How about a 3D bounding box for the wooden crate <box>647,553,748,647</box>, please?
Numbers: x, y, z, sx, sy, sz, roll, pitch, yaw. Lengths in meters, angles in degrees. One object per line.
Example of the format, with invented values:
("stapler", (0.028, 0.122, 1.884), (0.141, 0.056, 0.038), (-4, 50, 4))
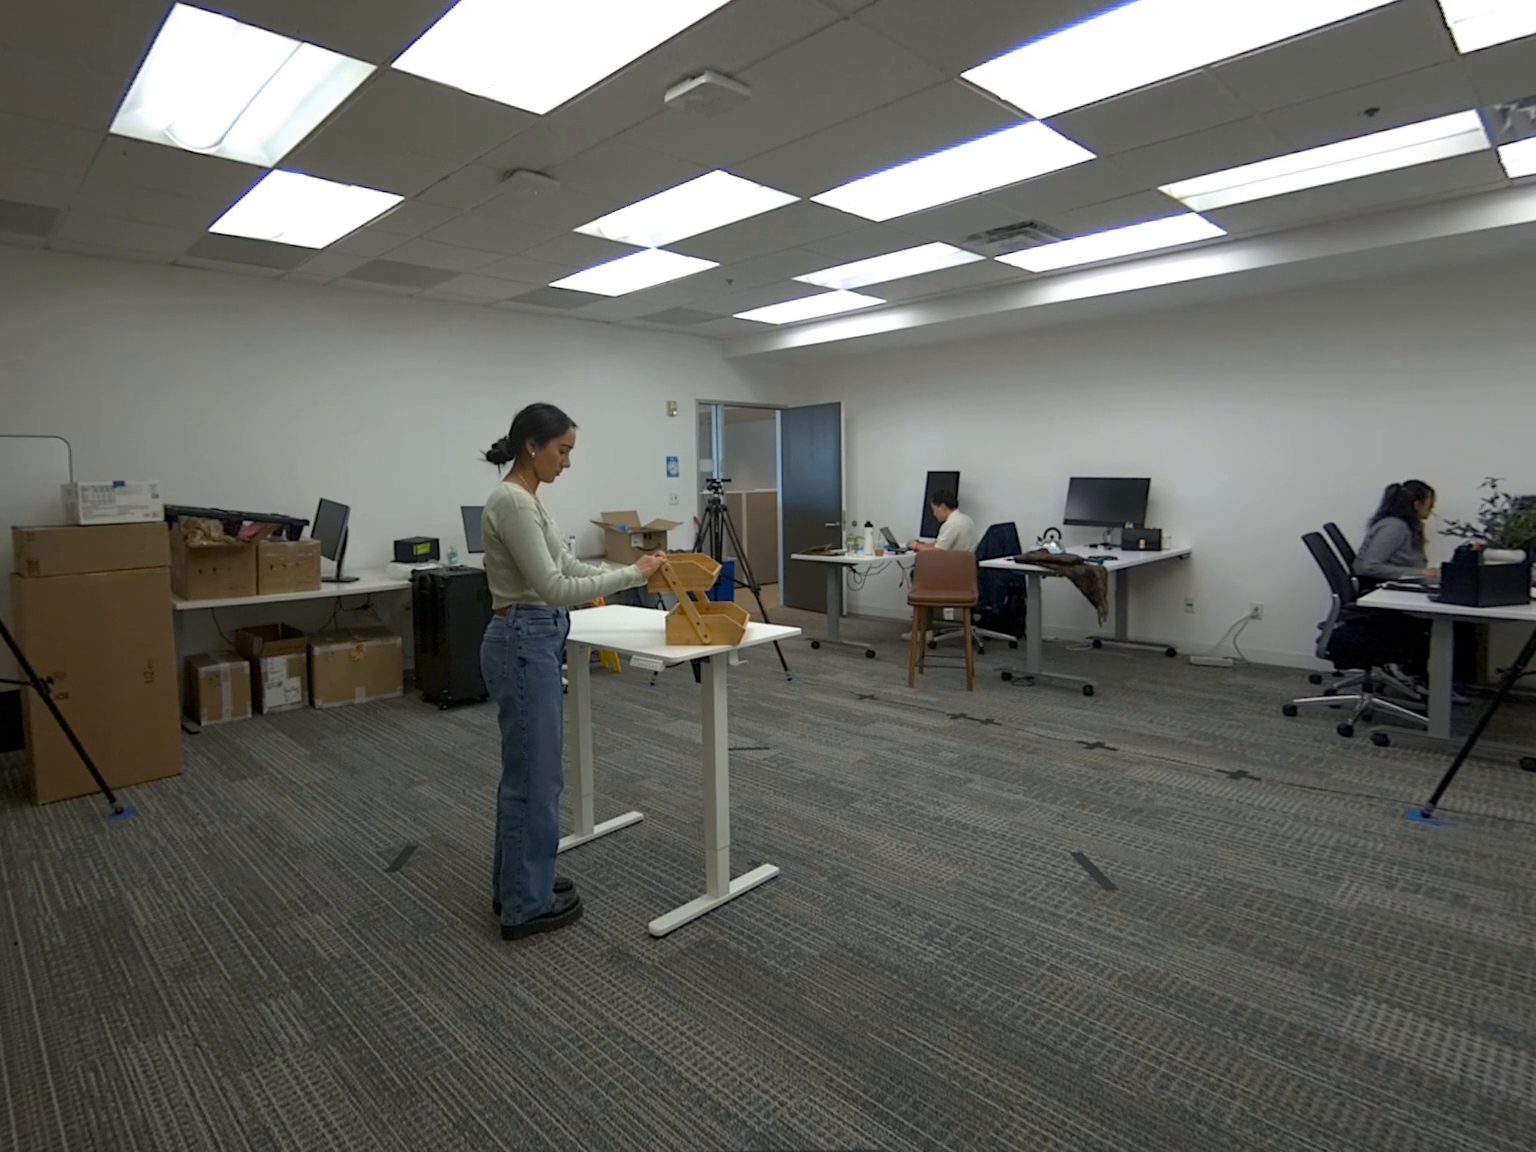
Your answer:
("wooden crate", (-0.214, 0.066, 2.788), (0.303, 0.272, 0.324), (-1, 5, 3))
